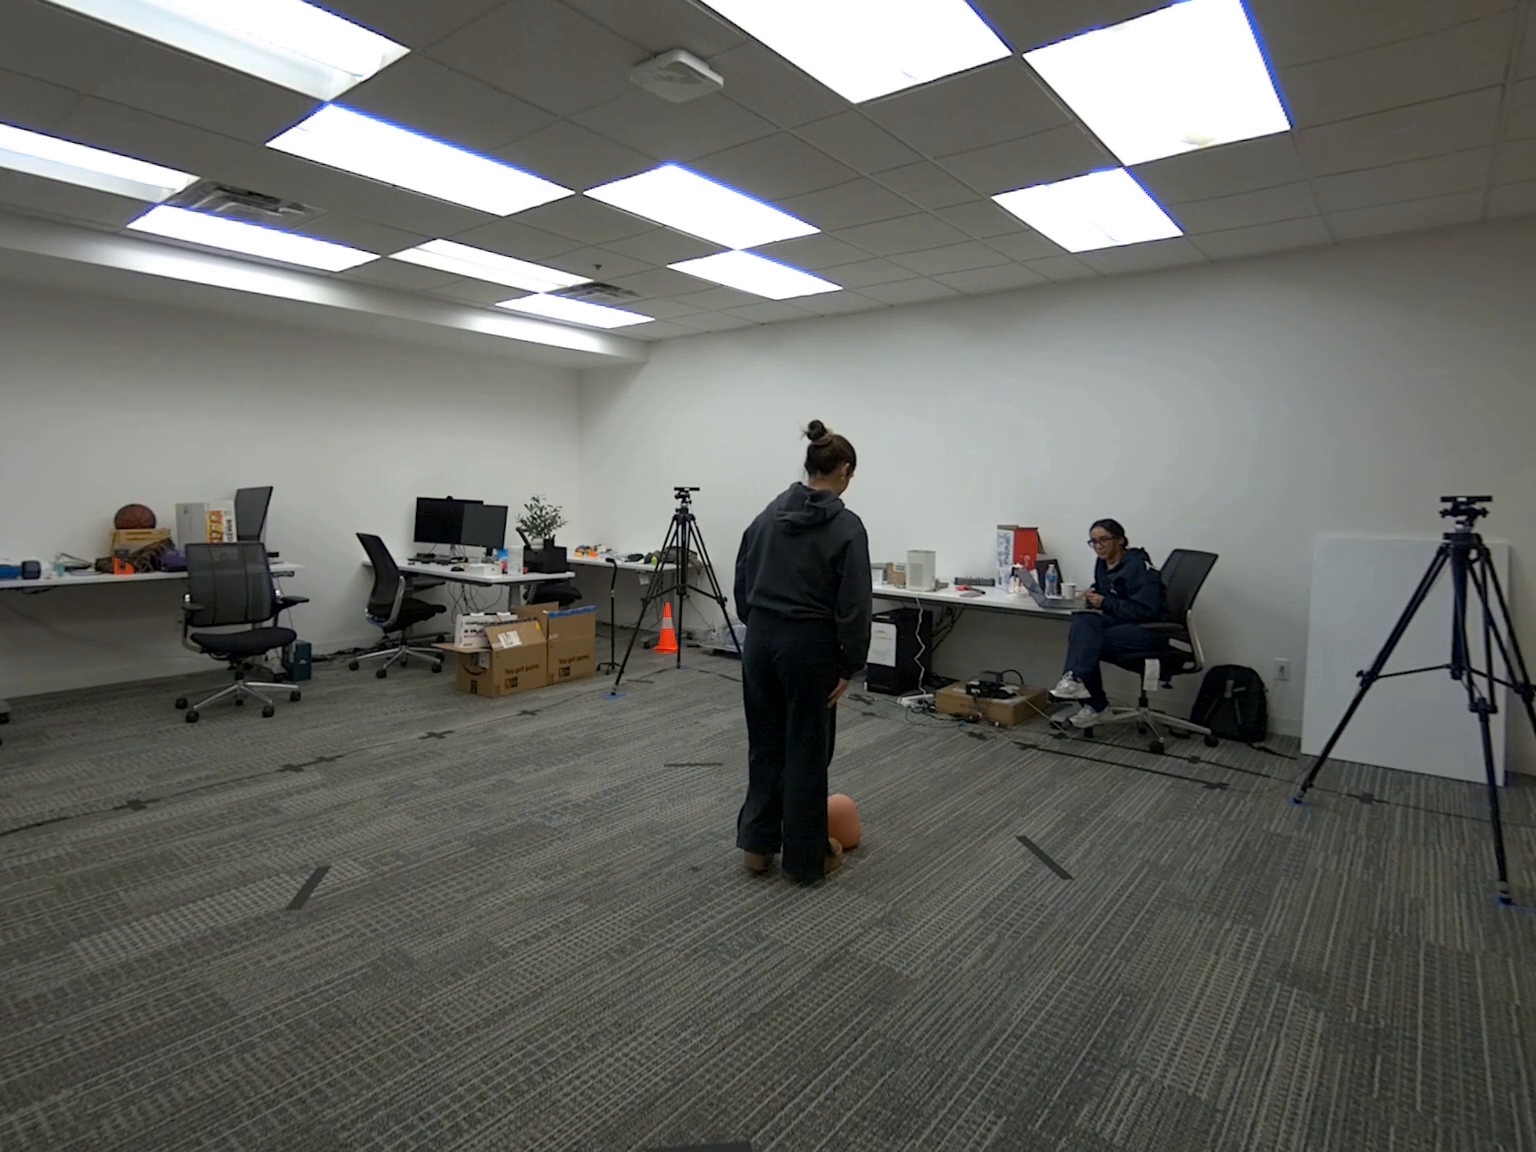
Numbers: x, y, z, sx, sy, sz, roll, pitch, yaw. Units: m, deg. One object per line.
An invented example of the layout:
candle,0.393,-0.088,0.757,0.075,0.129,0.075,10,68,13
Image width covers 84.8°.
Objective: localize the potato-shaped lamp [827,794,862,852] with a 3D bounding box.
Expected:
potato-shaped lamp,0.283,0.951,3.350,0.169,0.197,0.167,2,7,29
